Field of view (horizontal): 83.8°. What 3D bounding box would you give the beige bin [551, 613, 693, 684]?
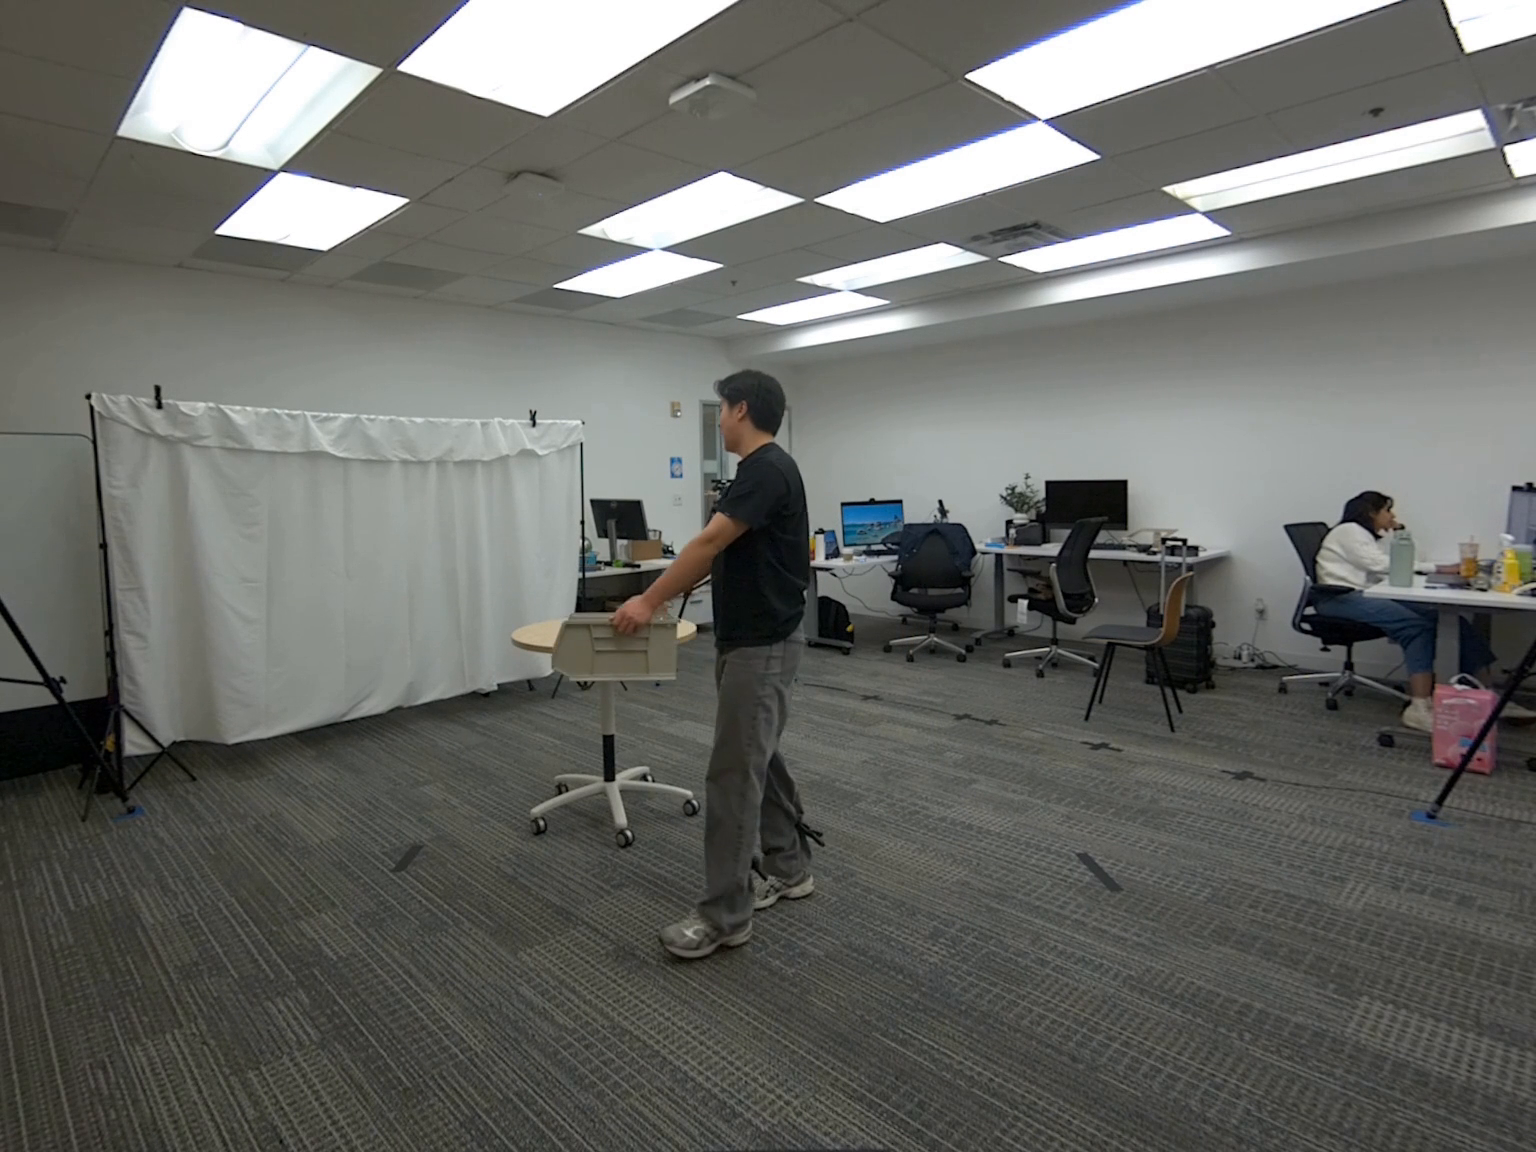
[{"bbox_3d":[-0.475,0.223,2.711,0.374,0.189,0.425,1,-1,-10],"label":"beige bin"}]
